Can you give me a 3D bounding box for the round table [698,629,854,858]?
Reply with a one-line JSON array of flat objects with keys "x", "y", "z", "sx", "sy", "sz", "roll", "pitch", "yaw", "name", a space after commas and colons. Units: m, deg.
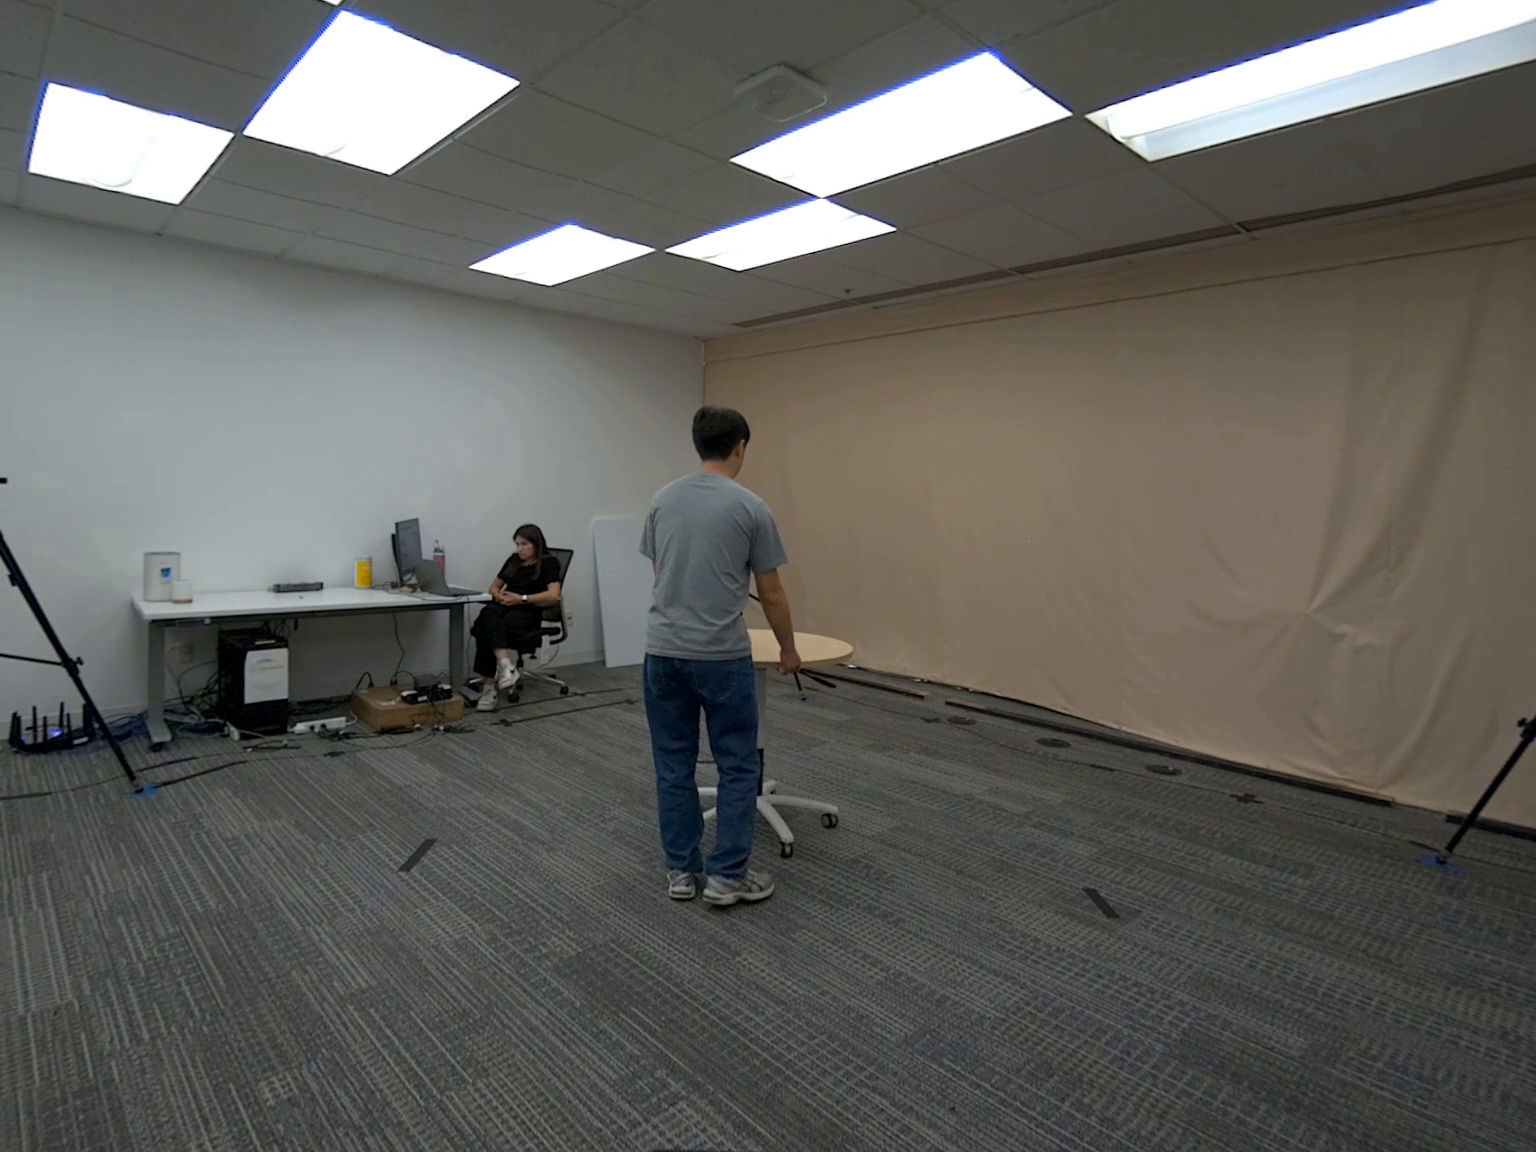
[{"x": -0.046, "y": 0.681, "z": 3.553, "sx": 0.763, "sy": 0.792, "sz": 0.766, "roll": 2, "pitch": 4, "yaw": -1, "name": "round table"}]
